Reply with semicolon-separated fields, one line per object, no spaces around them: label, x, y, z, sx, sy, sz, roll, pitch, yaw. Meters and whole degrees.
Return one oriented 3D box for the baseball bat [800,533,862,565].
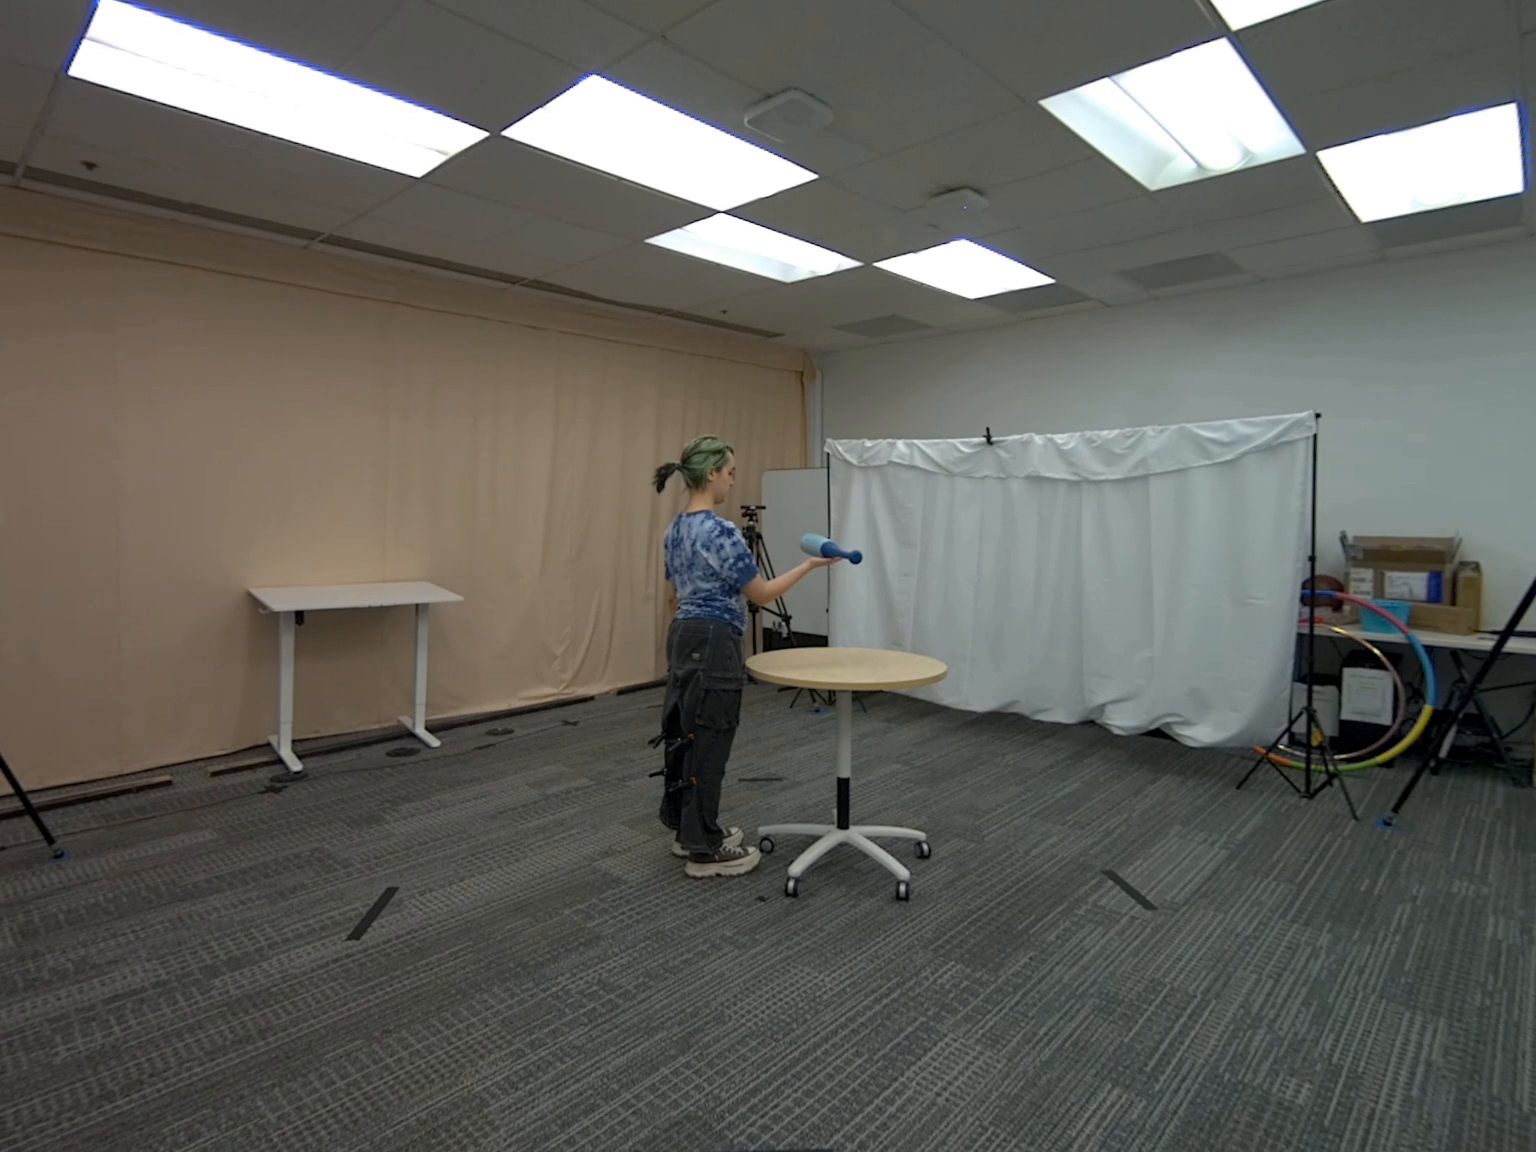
baseball bat;0.242;-0.097;3.230;0.088;0.089;0.552;-1;8;-14
